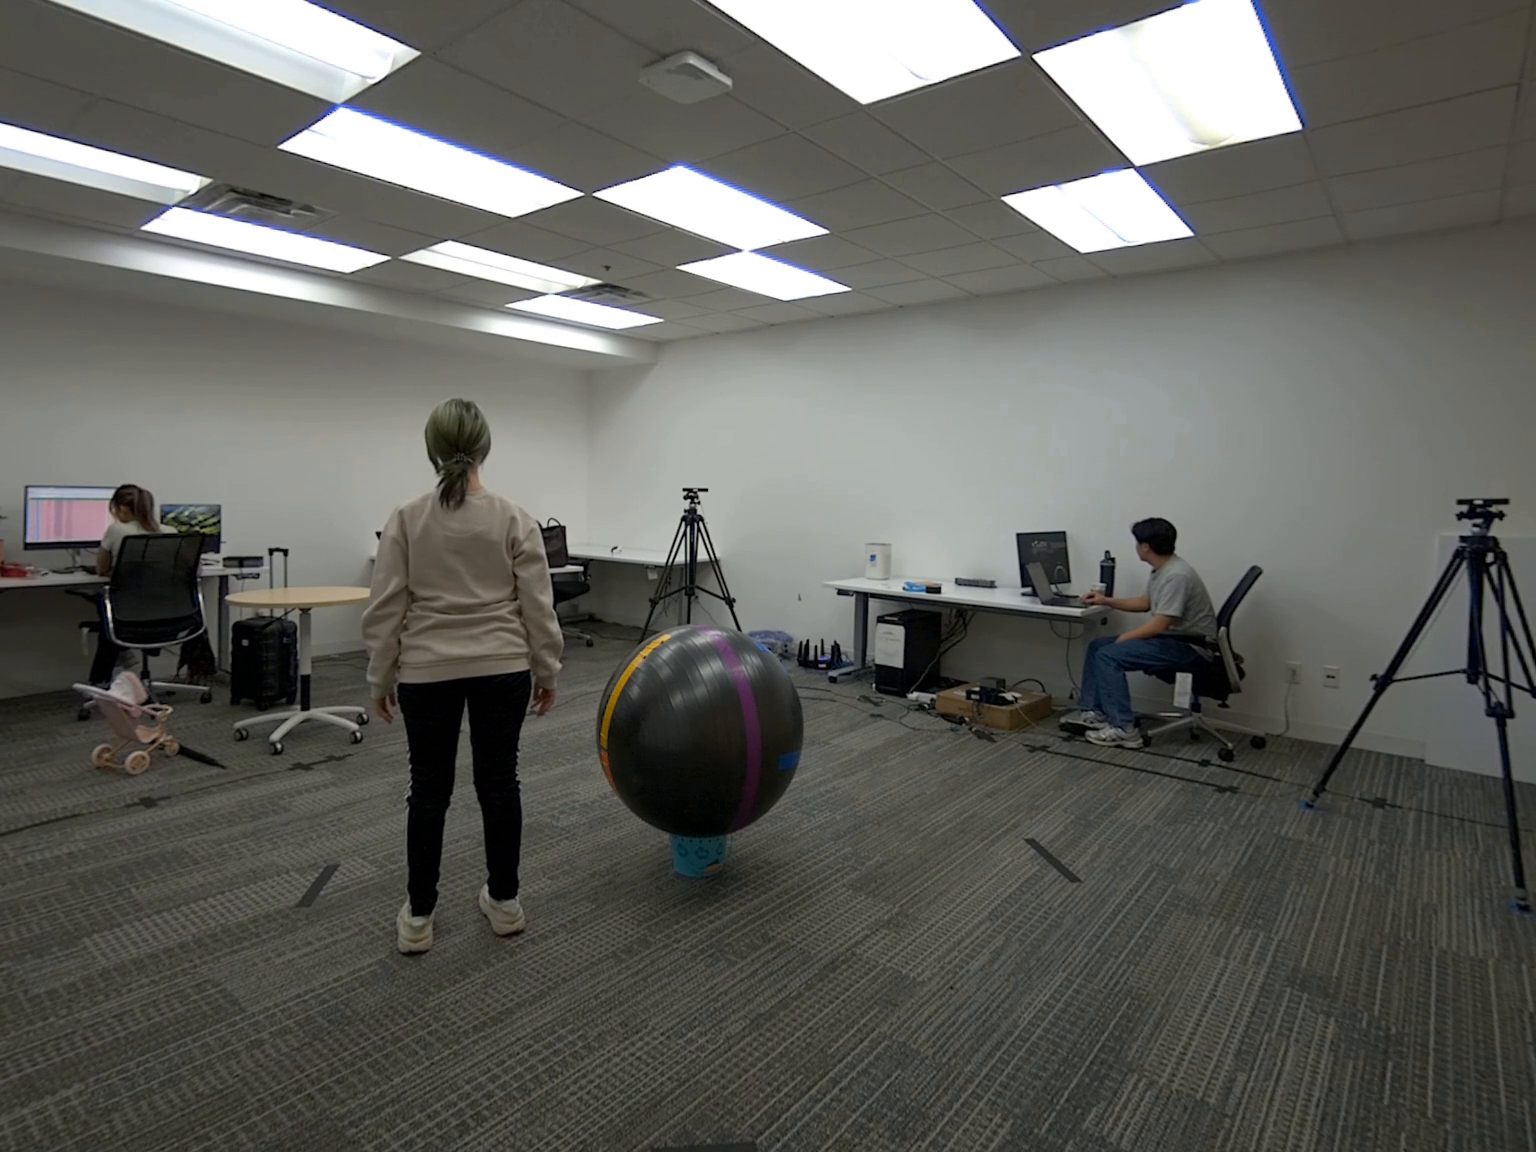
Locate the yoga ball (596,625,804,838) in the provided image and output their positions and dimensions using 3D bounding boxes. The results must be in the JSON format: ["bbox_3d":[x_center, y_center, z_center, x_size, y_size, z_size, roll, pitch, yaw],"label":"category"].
[{"bbox_3d":[-0.257,0.553,3.110,0.757,0.755,0.762,1,4,-2],"label":"yoga ball"}]
